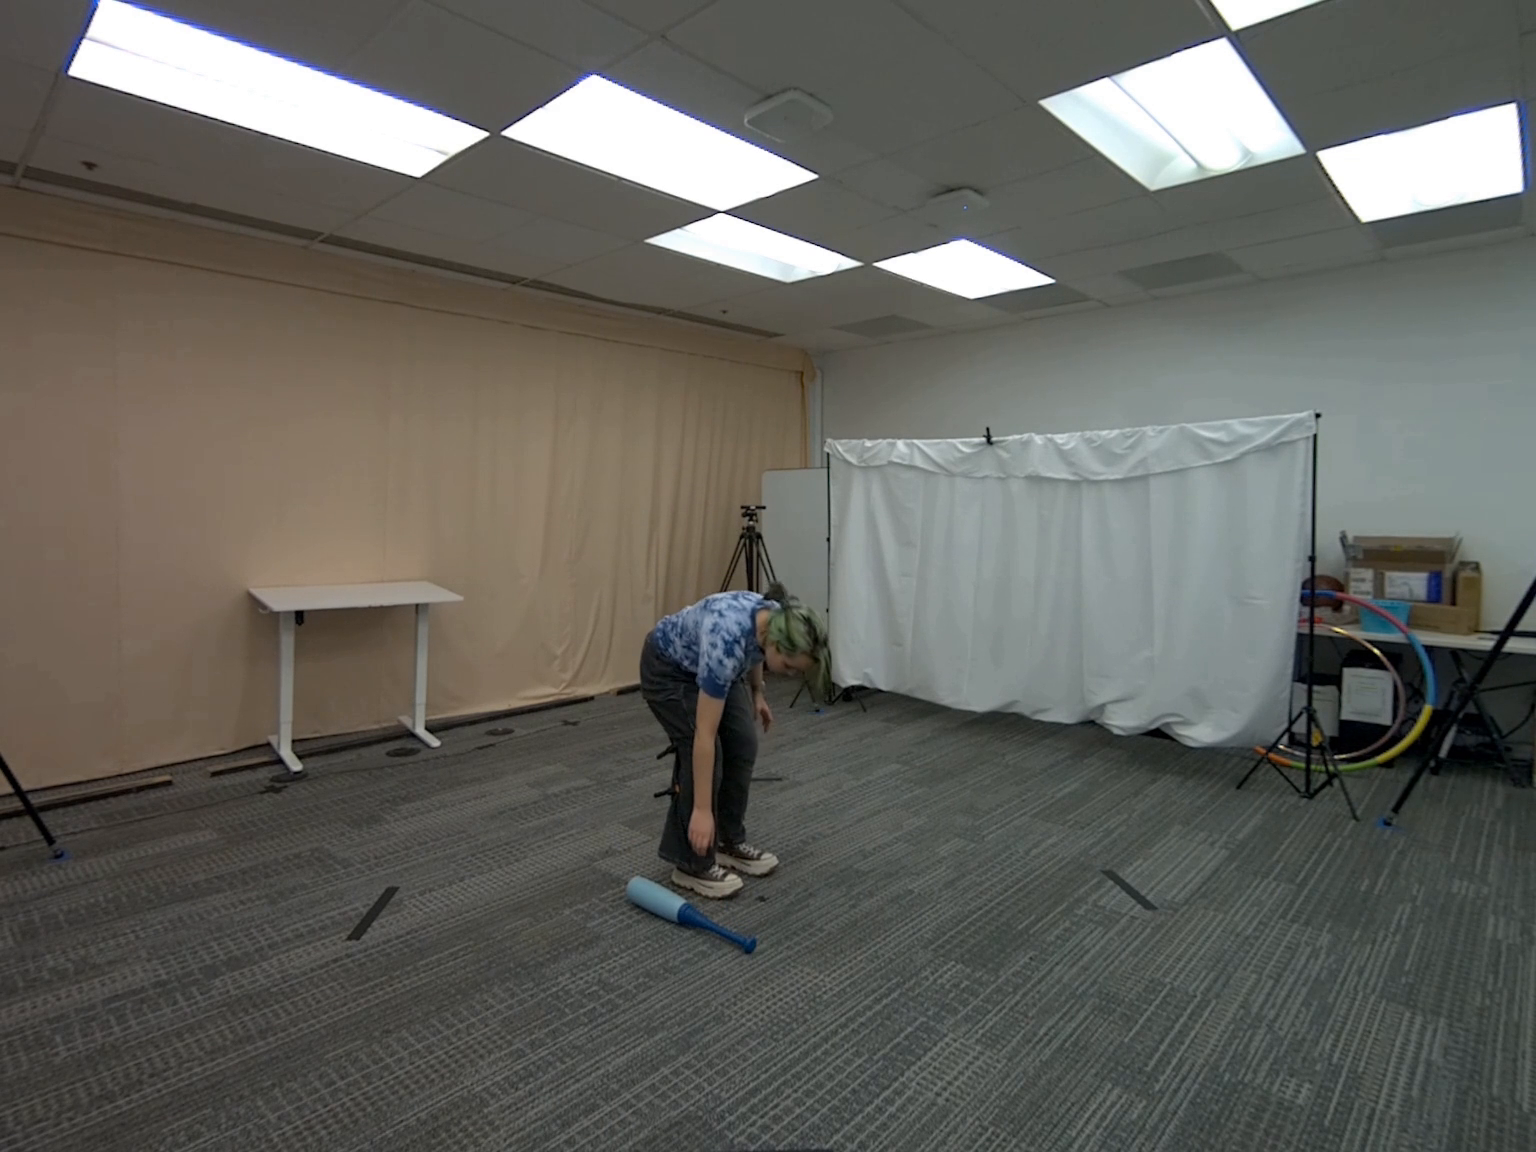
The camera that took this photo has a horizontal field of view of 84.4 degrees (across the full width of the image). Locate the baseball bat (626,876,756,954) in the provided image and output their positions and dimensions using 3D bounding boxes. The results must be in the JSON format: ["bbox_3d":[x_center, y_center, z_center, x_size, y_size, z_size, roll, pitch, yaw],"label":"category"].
[{"bbox_3d":[-0.264,1.123,2.794,0.562,0.089,0.086,8,8,39],"label":"baseball bat"}]
